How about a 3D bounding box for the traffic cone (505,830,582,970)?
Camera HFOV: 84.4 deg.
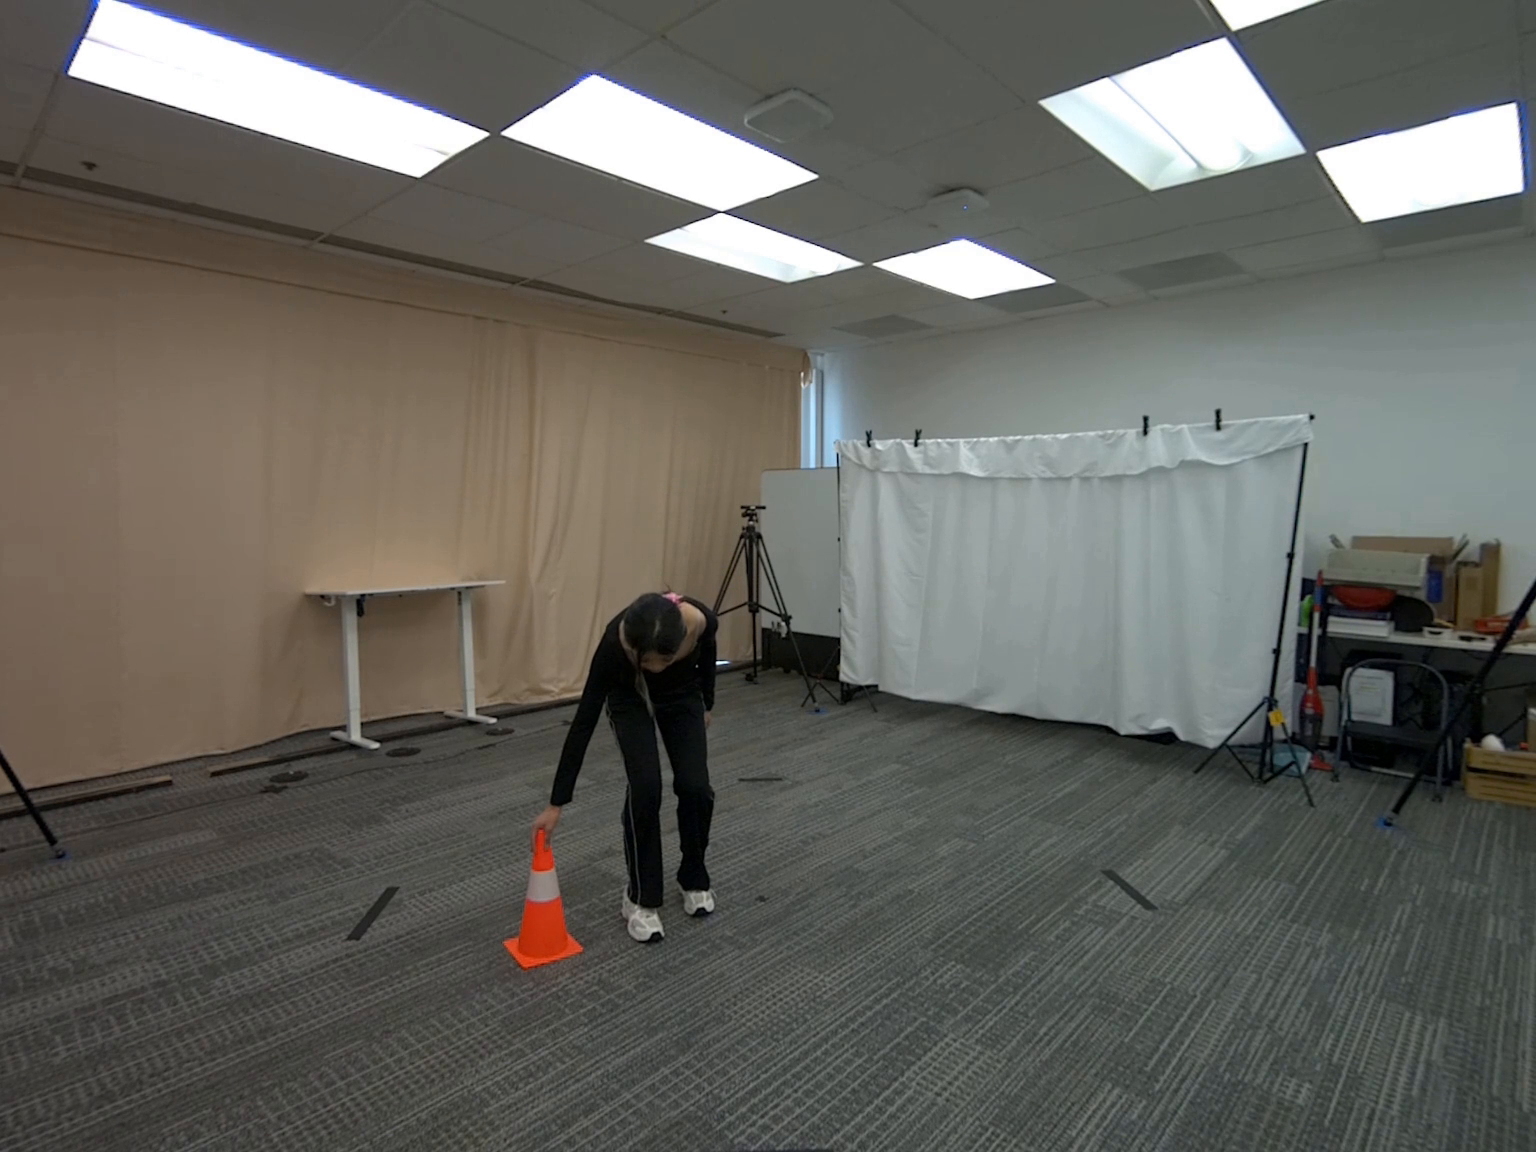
[{"bbox_3d":[-0.714,0.990,2.656,0.199,0.383,0.210,-3,5,-37],"label":"traffic cone"}]
